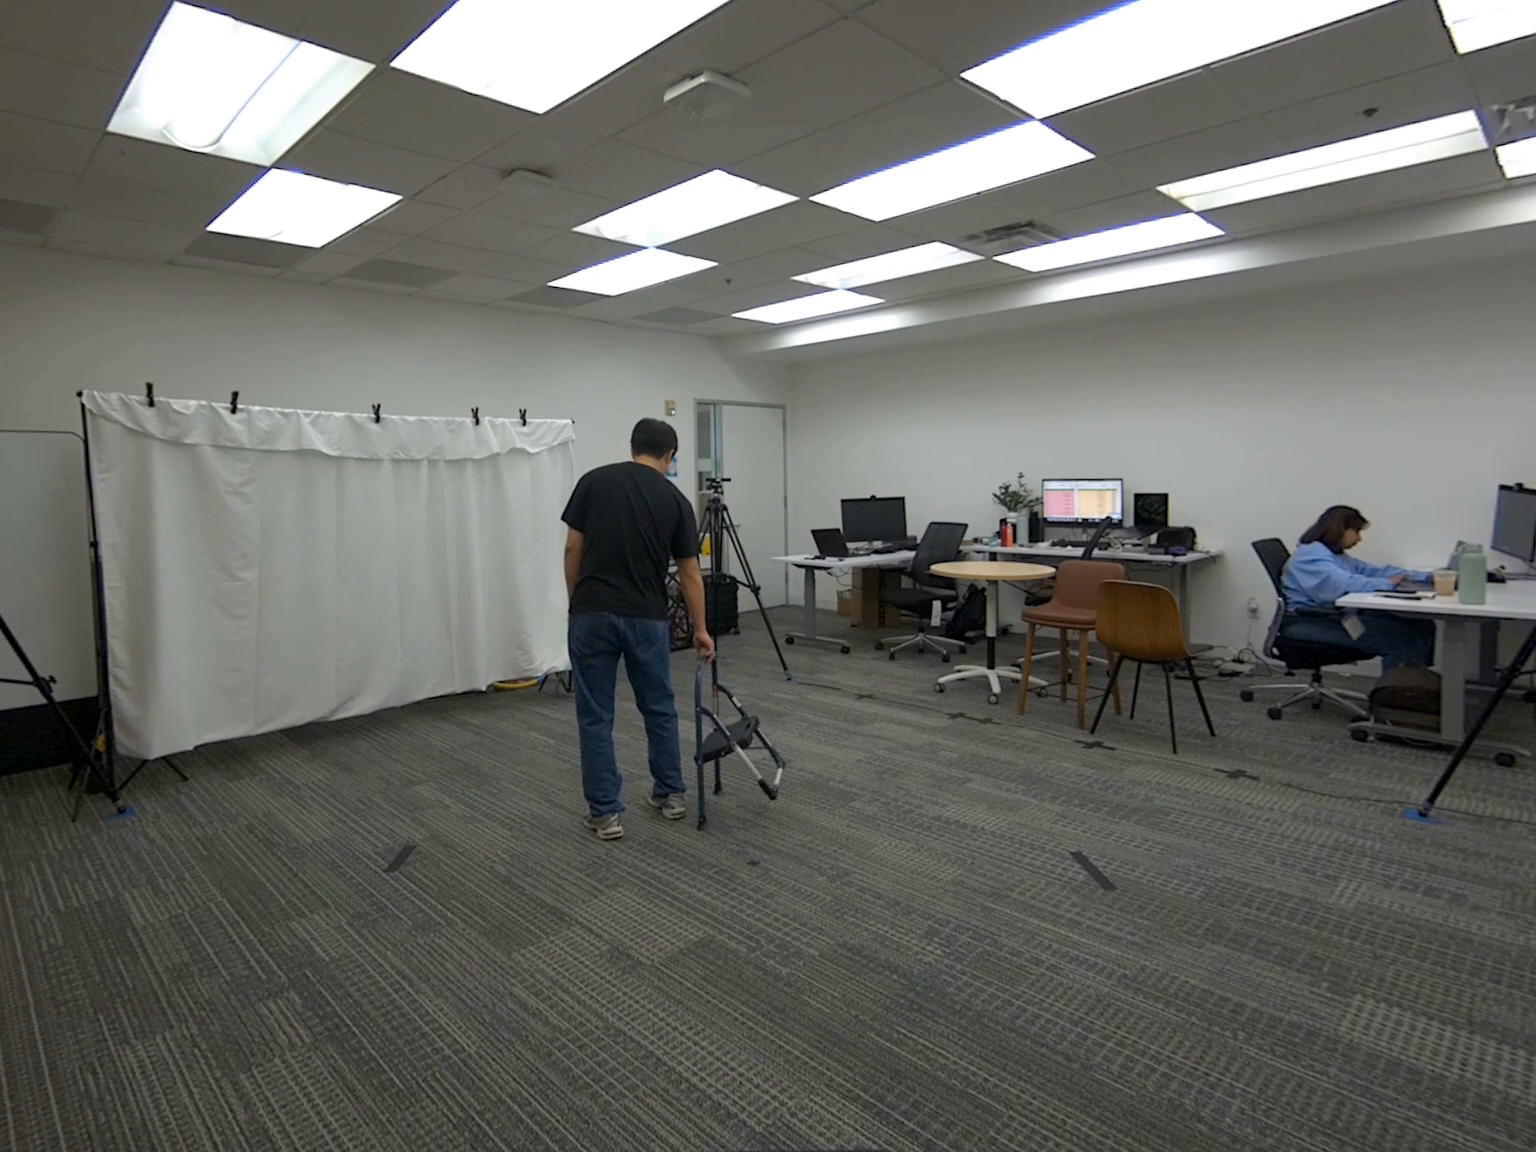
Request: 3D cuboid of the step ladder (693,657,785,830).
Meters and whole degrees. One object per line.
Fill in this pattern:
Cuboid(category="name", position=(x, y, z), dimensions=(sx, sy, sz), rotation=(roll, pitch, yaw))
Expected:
Cuboid(category="step ladder", position=(-0.223, 0.642, 3.591), dimensions=(0.351, 0.606, 0.428), rotation=(-22, 1, 8))
